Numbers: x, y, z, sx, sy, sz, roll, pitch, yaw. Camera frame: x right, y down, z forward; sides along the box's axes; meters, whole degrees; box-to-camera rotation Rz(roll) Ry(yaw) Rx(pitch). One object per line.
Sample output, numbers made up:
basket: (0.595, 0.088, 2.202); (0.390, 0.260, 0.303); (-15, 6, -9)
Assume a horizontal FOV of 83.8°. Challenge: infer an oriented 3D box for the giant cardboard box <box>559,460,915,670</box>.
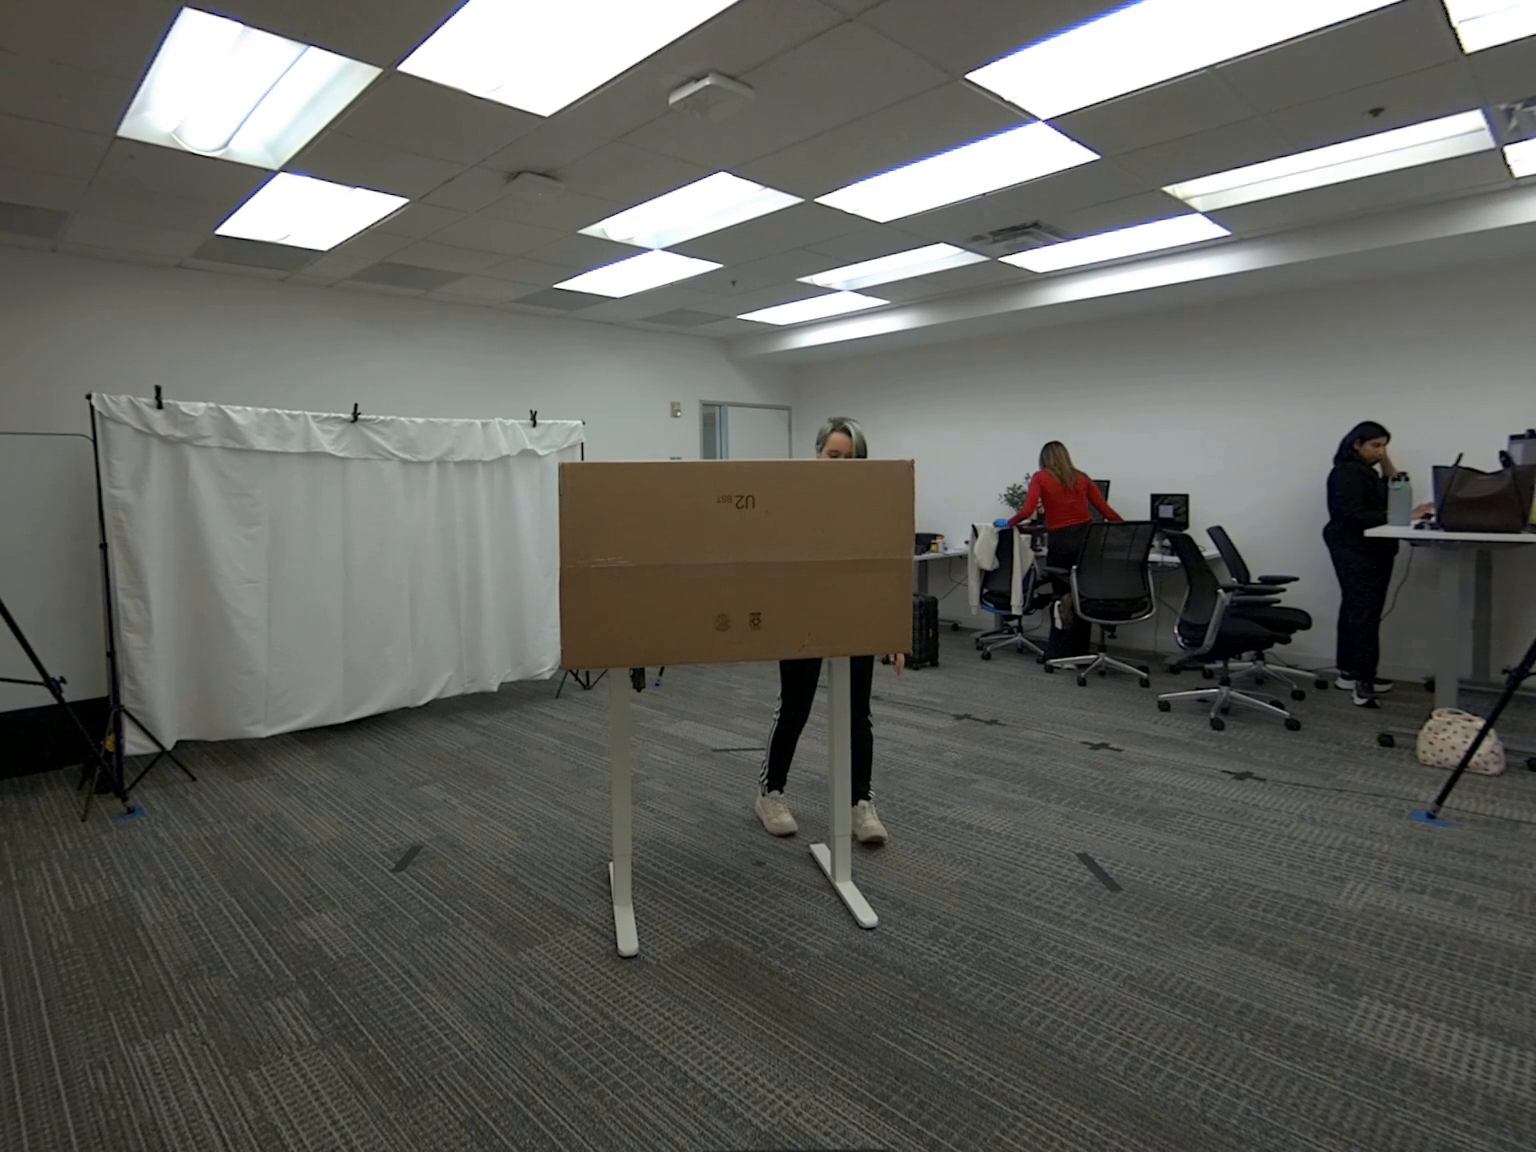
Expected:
giant cardboard box: (-0.117, -0.070, 2.614); (1.017, 0.582, 0.453); (-1, 4, -11)
